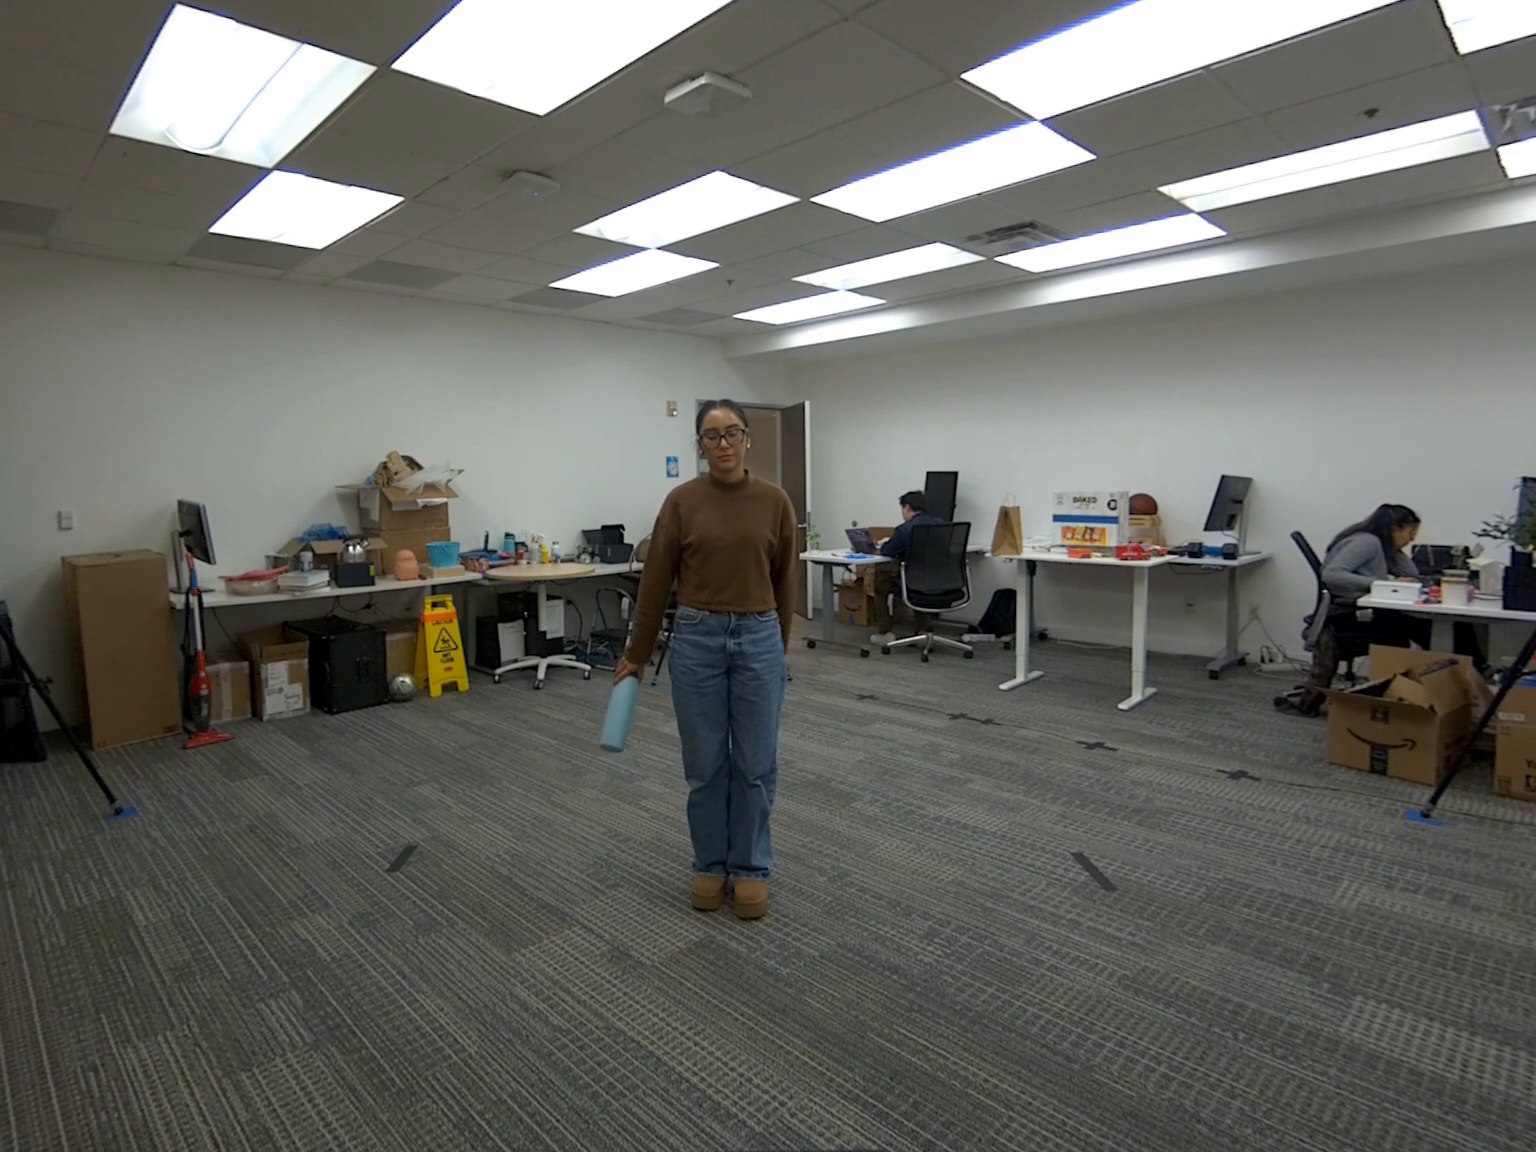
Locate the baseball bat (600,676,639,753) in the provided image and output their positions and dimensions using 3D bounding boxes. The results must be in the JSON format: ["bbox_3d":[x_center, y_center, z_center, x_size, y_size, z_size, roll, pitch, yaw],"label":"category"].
[{"bbox_3d":[-0.445,0.333,2.904,0.089,0.552,0.087,9,-28,3],"label":"baseball bat"}]
